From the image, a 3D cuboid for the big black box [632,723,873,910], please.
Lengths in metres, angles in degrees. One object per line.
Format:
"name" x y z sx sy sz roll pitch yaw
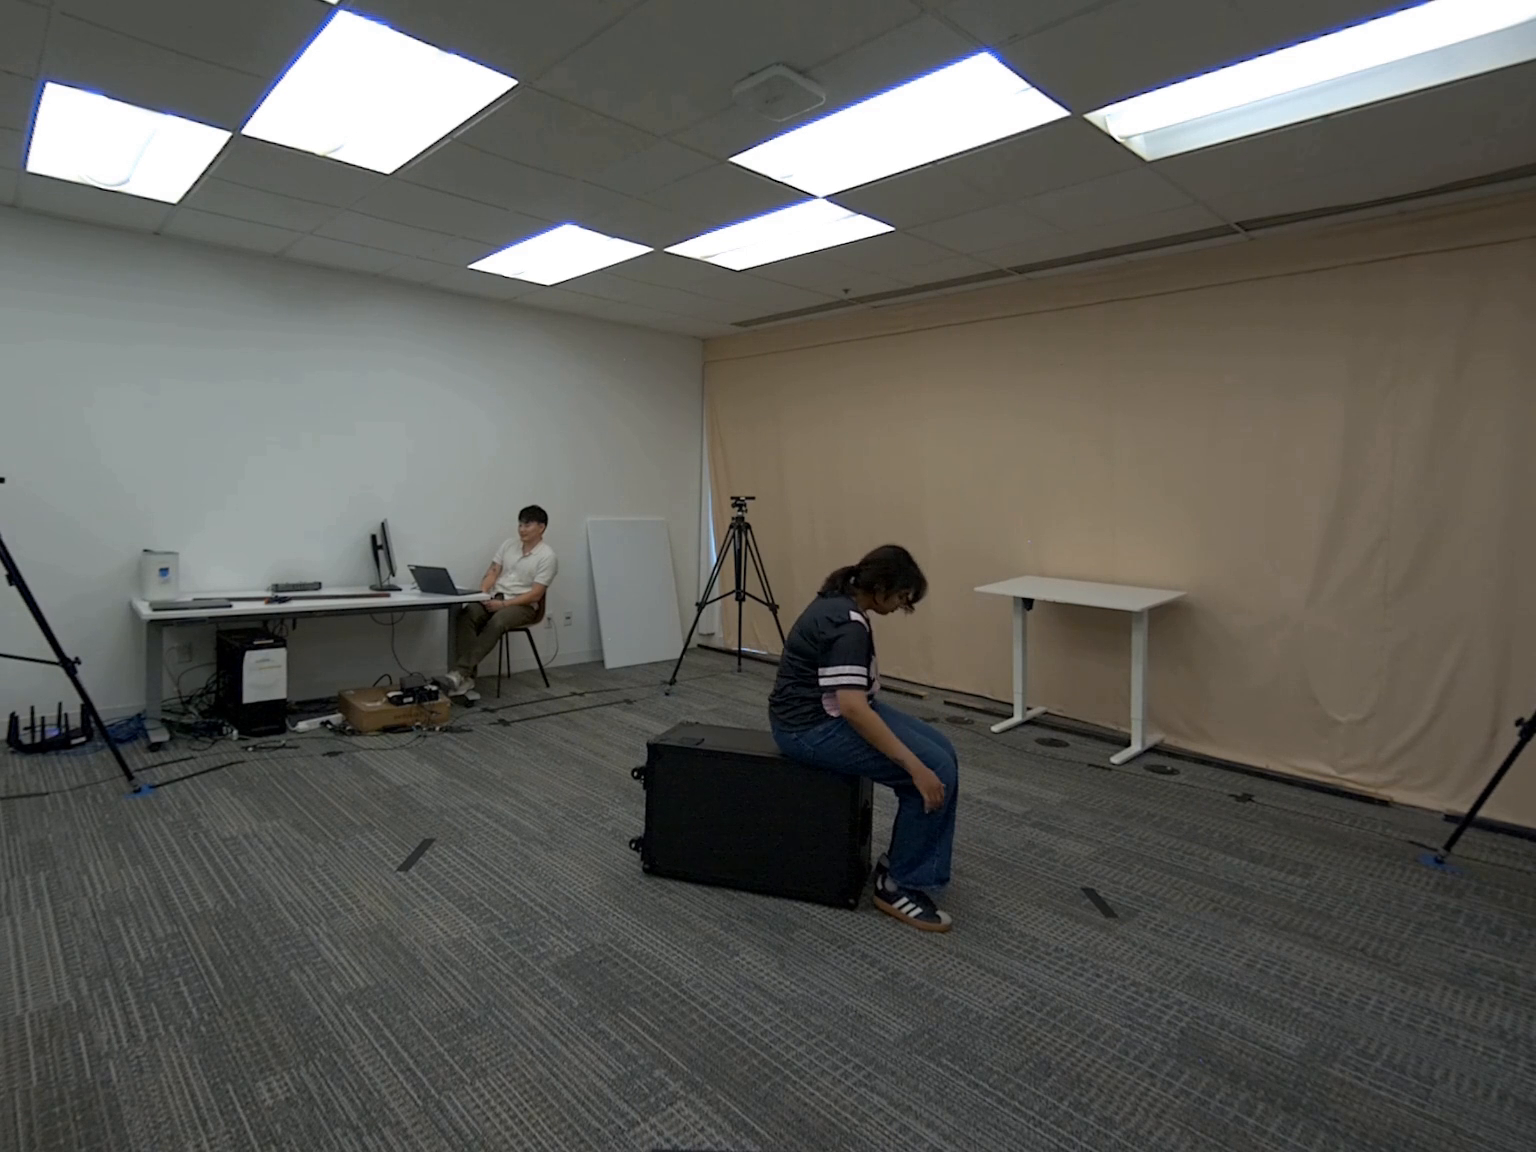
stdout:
"big black box" -0.067 0.845 3.131 0.881 0.522 0.380 3 4 18
